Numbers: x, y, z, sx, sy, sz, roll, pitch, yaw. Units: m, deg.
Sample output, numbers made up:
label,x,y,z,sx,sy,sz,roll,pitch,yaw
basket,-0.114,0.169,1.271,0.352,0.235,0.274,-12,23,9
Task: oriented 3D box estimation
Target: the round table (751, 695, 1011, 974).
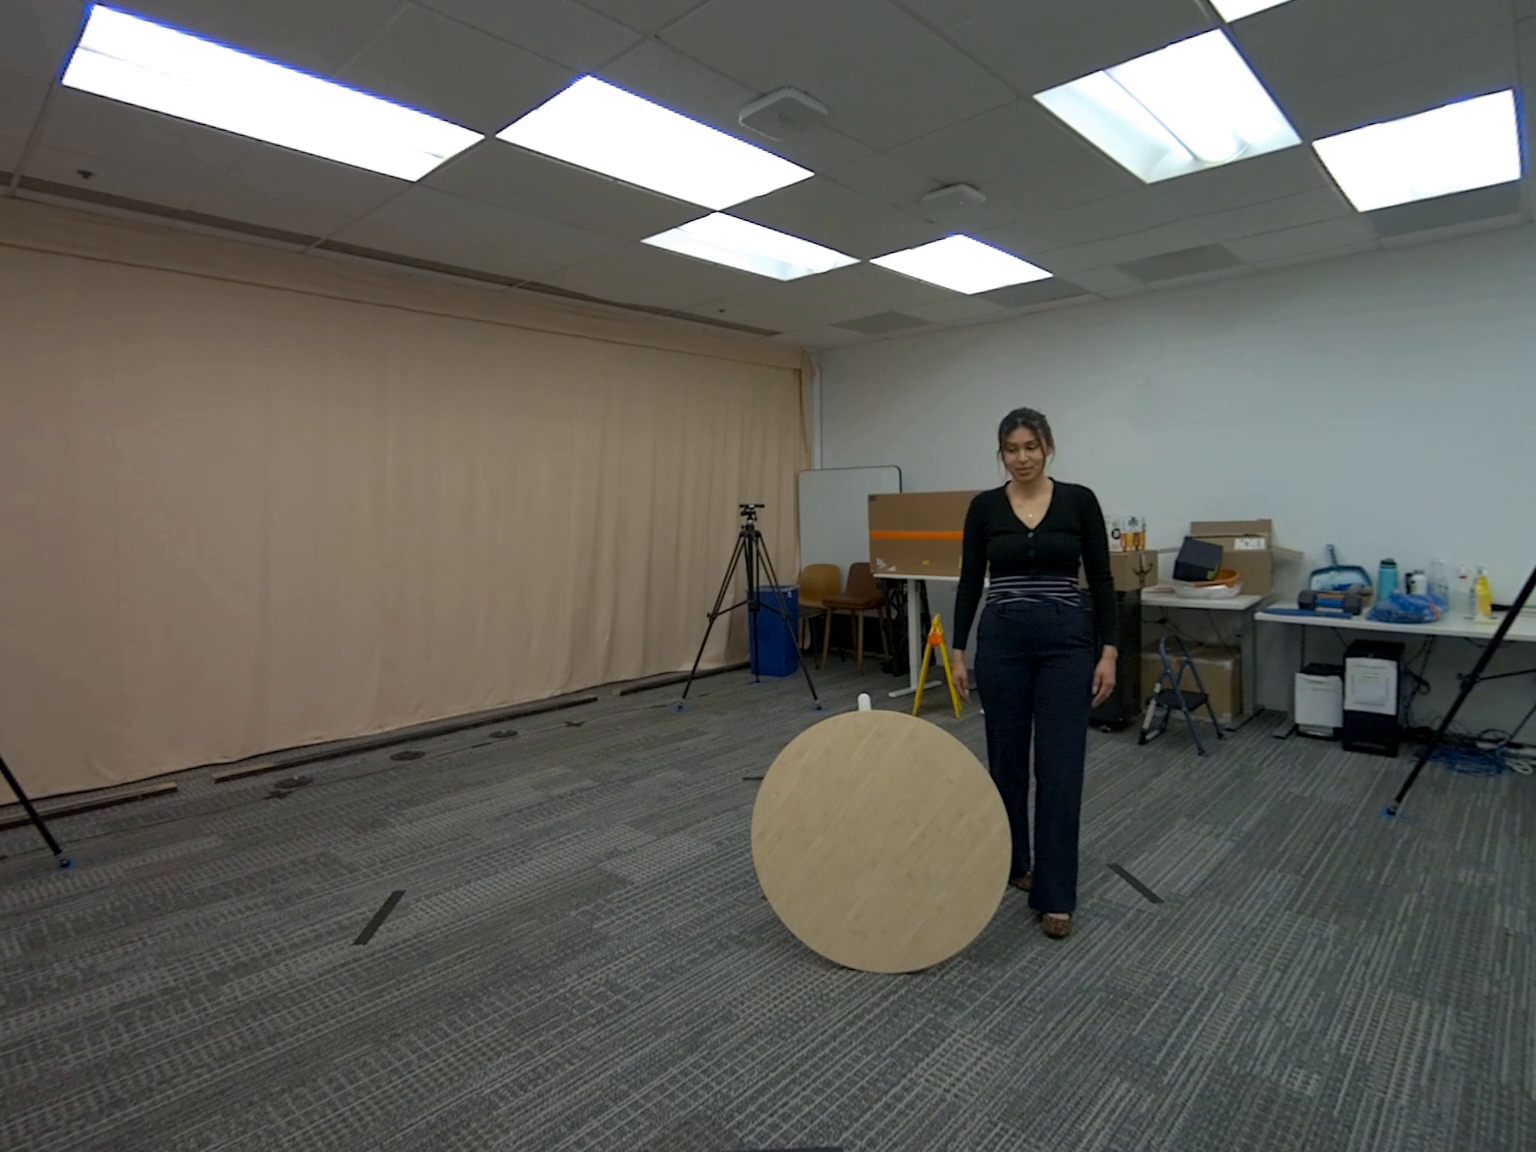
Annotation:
label,x,y,z,sx,sy,sz,roll,pitch,yaw
round table,0.369,0.804,2.906,0.770,0.765,0.786,0,-2,7
